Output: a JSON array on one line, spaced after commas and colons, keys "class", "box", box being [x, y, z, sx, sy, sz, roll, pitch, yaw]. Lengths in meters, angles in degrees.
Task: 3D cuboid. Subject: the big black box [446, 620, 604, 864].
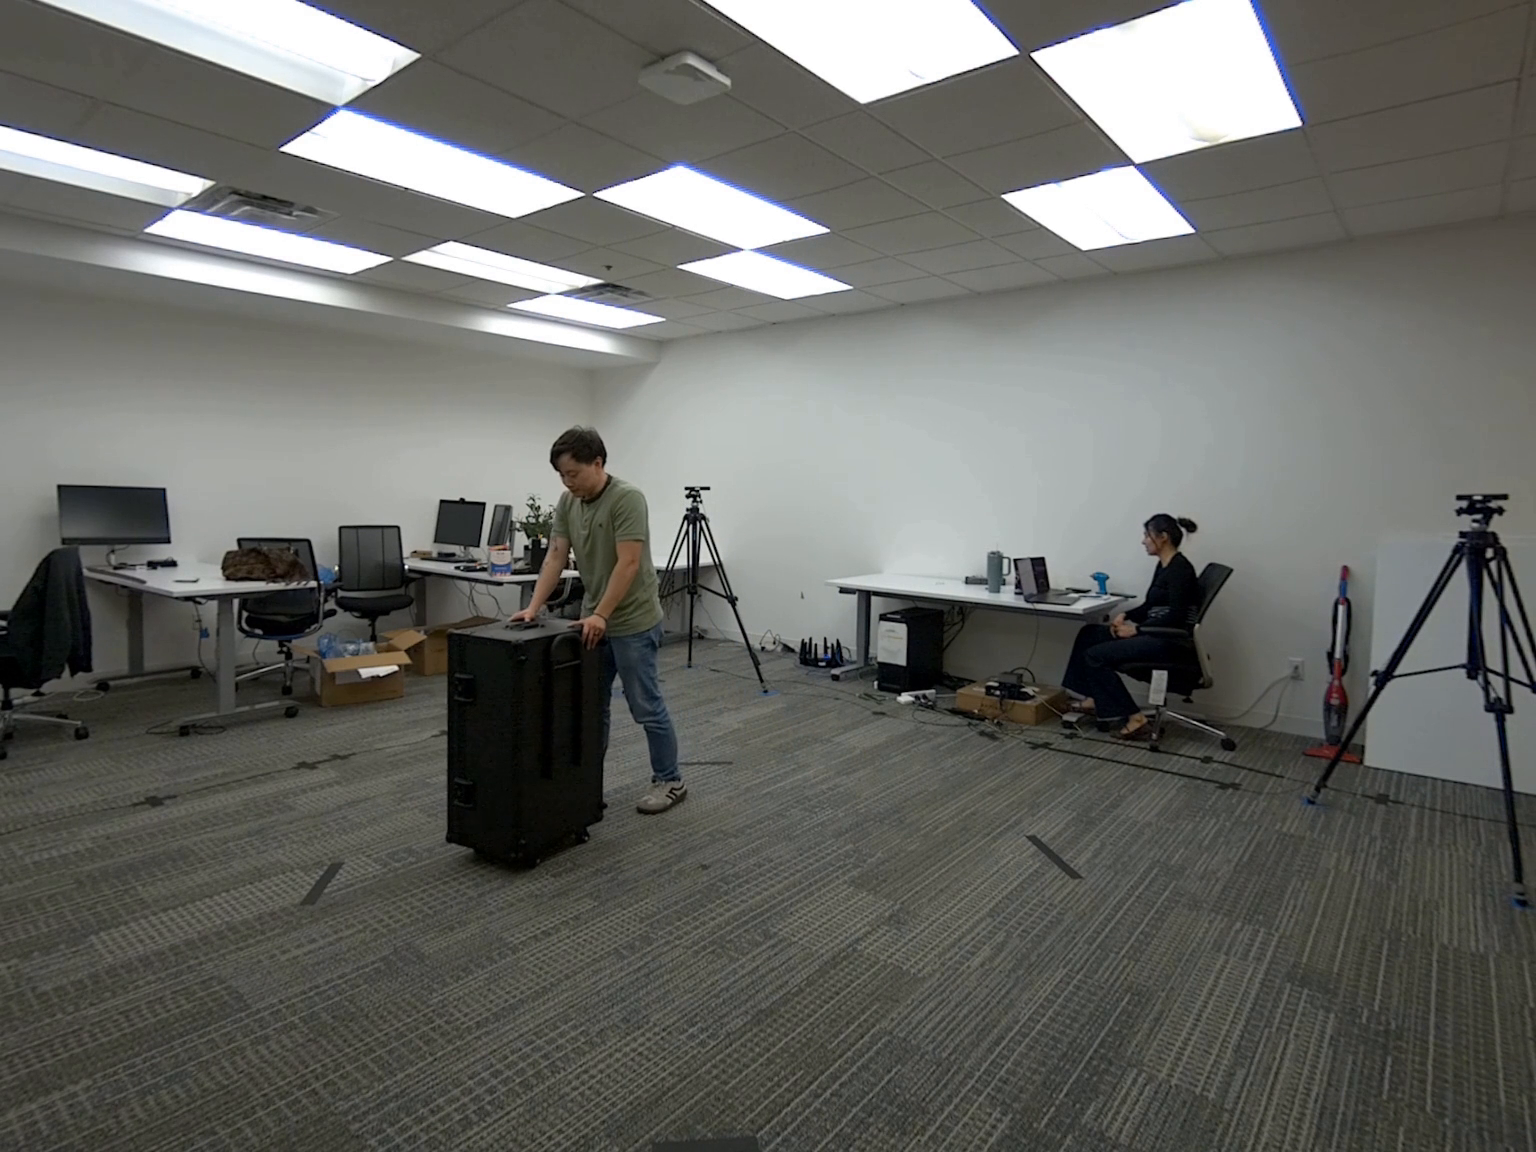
[{"class": "big black box", "box": [-0.916, 0.622, 3.235, 0.408, 0.859, 0.508, 3, 3, 29]}]
